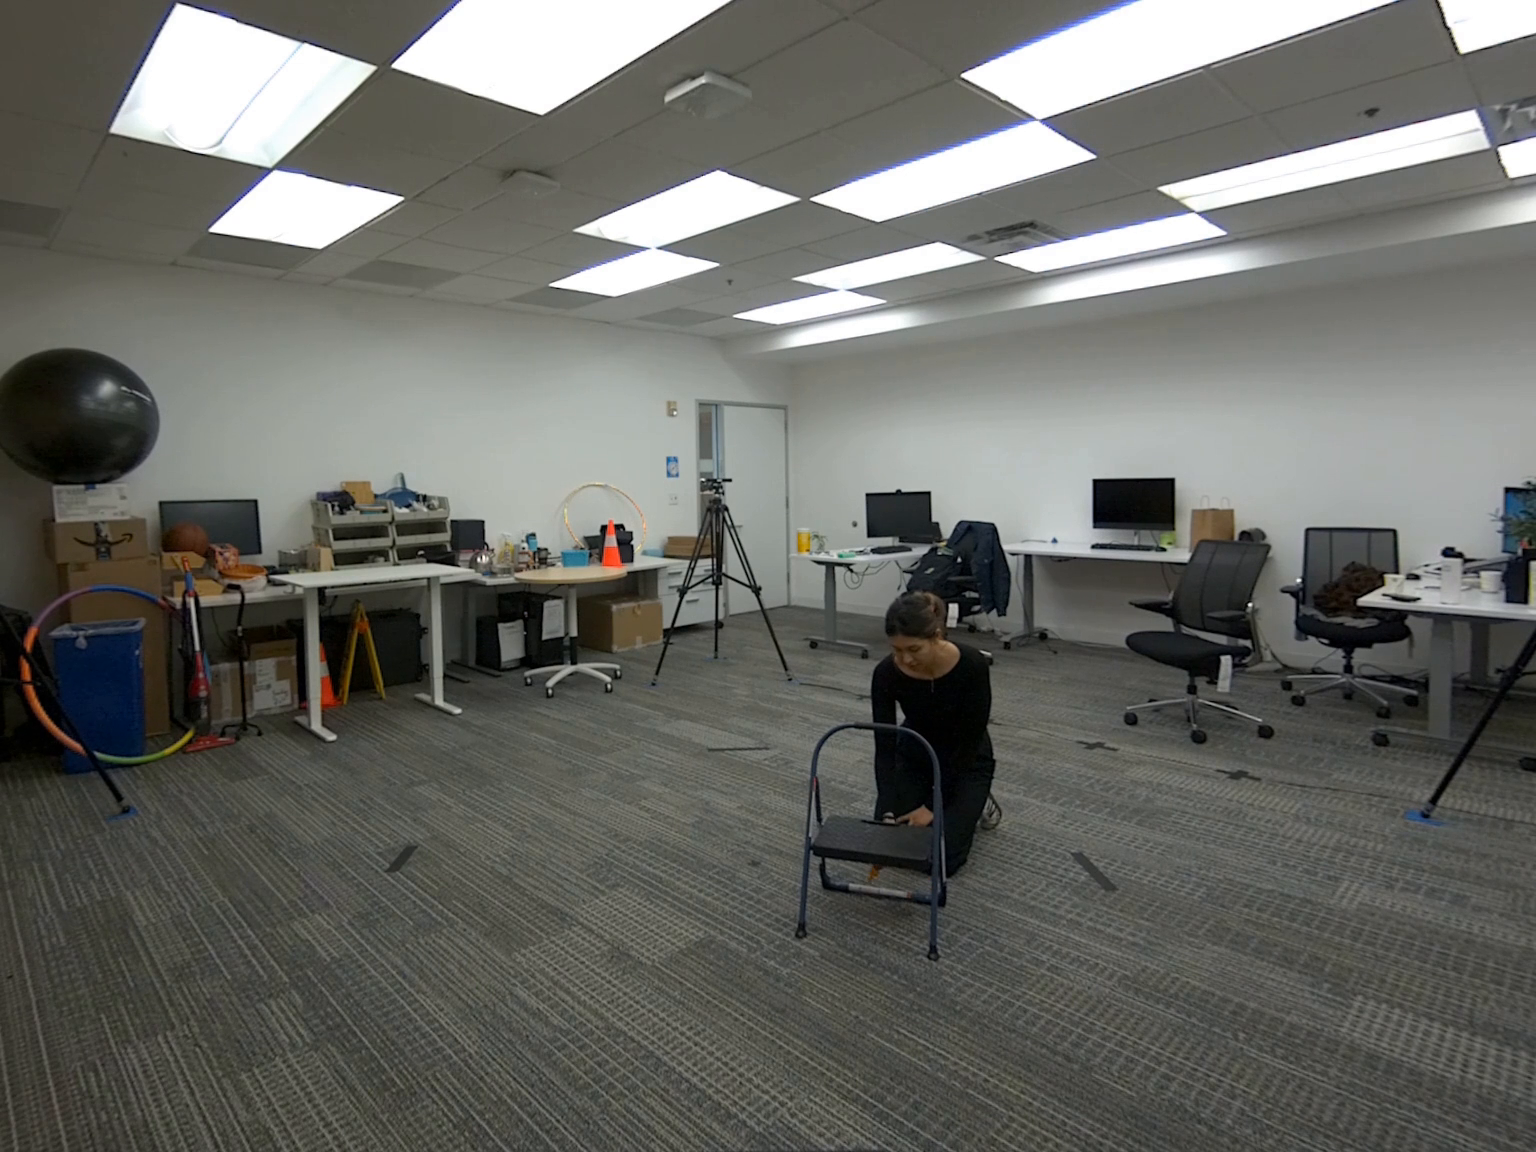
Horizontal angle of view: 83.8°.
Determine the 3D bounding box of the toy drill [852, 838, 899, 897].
[{"bbox_3d":[0.360,0.972,2.872,0.063,0.170,0.141,22,-8,24],"label":"toy drill"}]
